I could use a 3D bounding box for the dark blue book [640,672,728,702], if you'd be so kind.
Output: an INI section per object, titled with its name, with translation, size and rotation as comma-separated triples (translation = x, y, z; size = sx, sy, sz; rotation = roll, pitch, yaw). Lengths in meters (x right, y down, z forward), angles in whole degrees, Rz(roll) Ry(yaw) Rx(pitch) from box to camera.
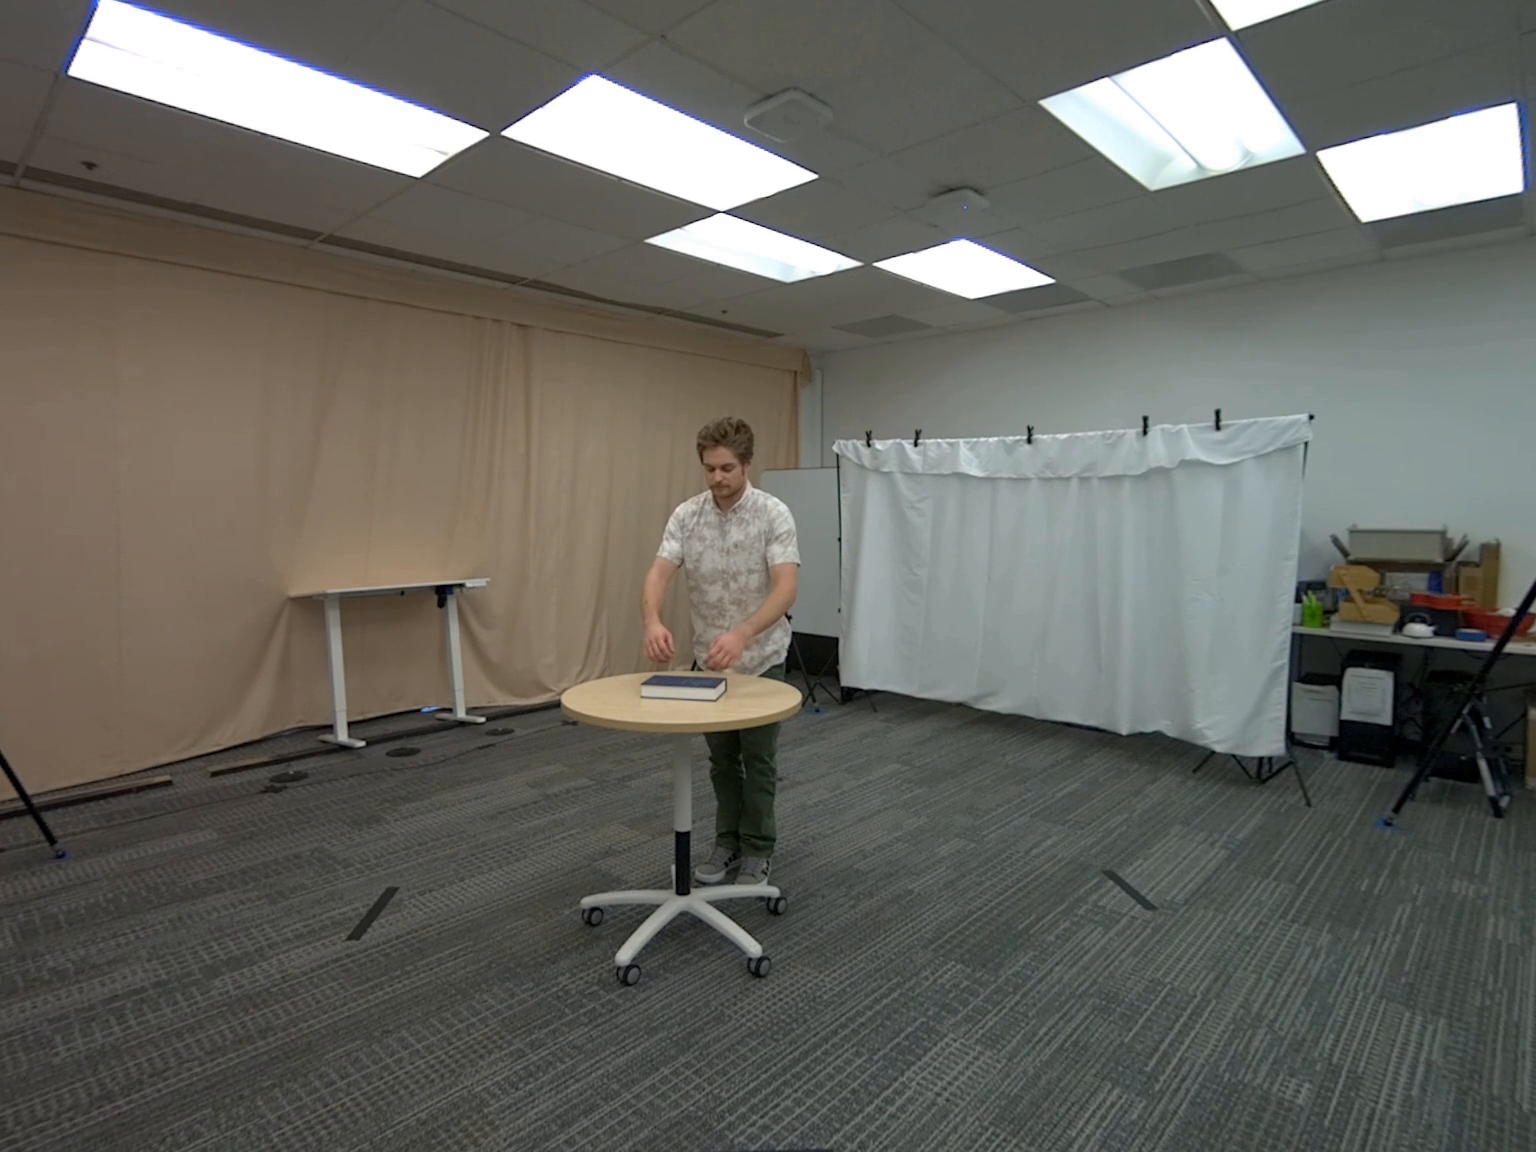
[dark blue book]
translation = -0.266, 0.355, 2.684
size = 0.248, 0.045, 0.161
rotation = 1, 4, 12
